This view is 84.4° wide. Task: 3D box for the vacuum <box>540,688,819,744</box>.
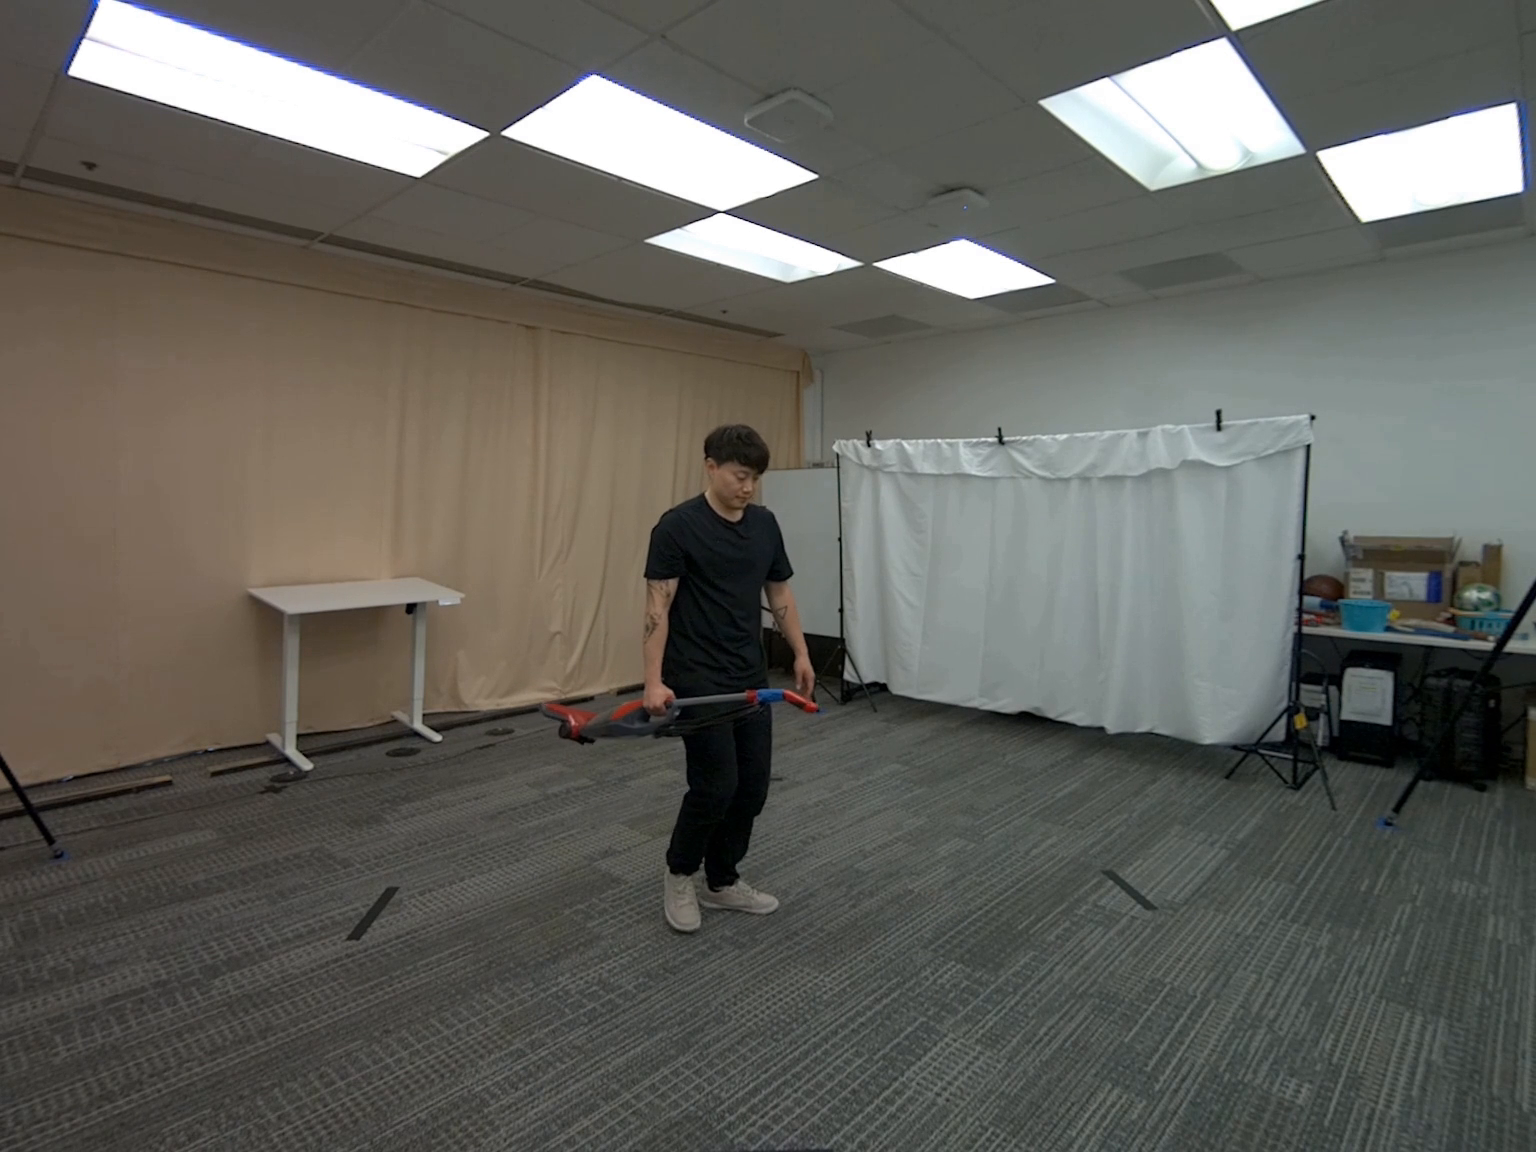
[{"bbox_3d":[-0.294,0.446,2.591,1.078,0.145,0.243,-11,-20,42],"label":"vacuum"}]
